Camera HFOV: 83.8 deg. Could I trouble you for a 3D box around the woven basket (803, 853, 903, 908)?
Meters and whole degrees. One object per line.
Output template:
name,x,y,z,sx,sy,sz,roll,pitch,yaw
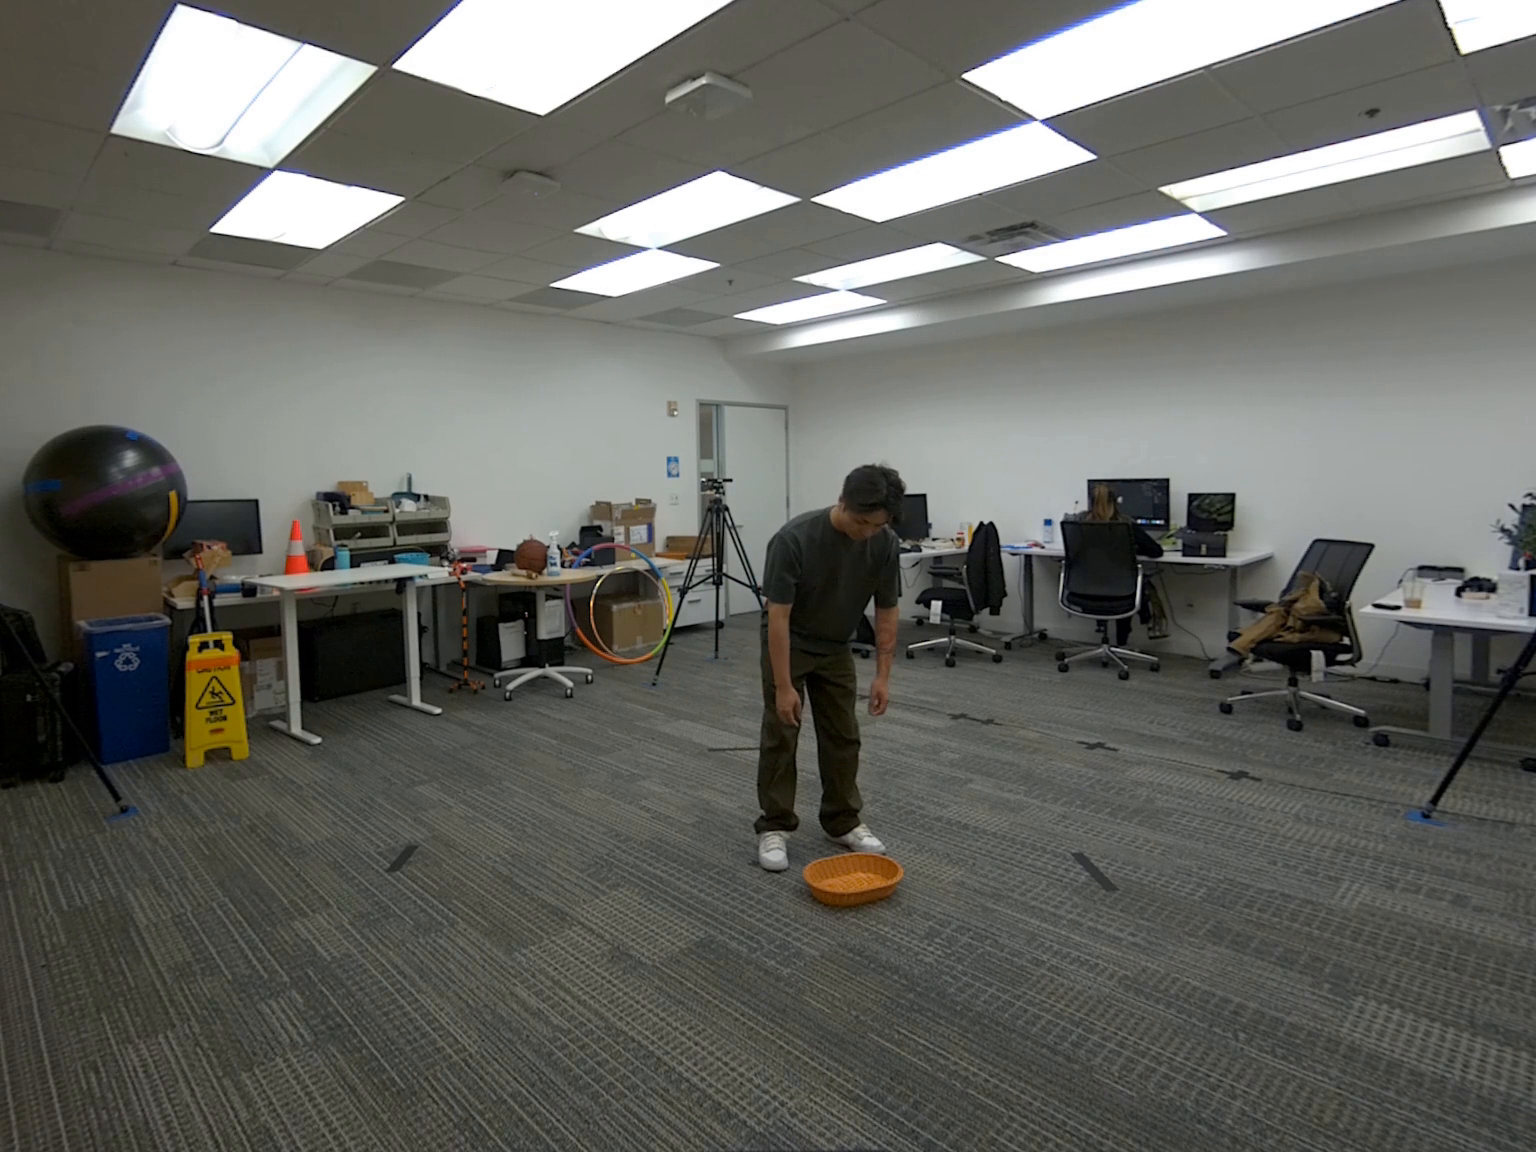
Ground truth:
woven basket,0.290,1.032,2.874,0.344,0.073,0.258,-4,7,-21
